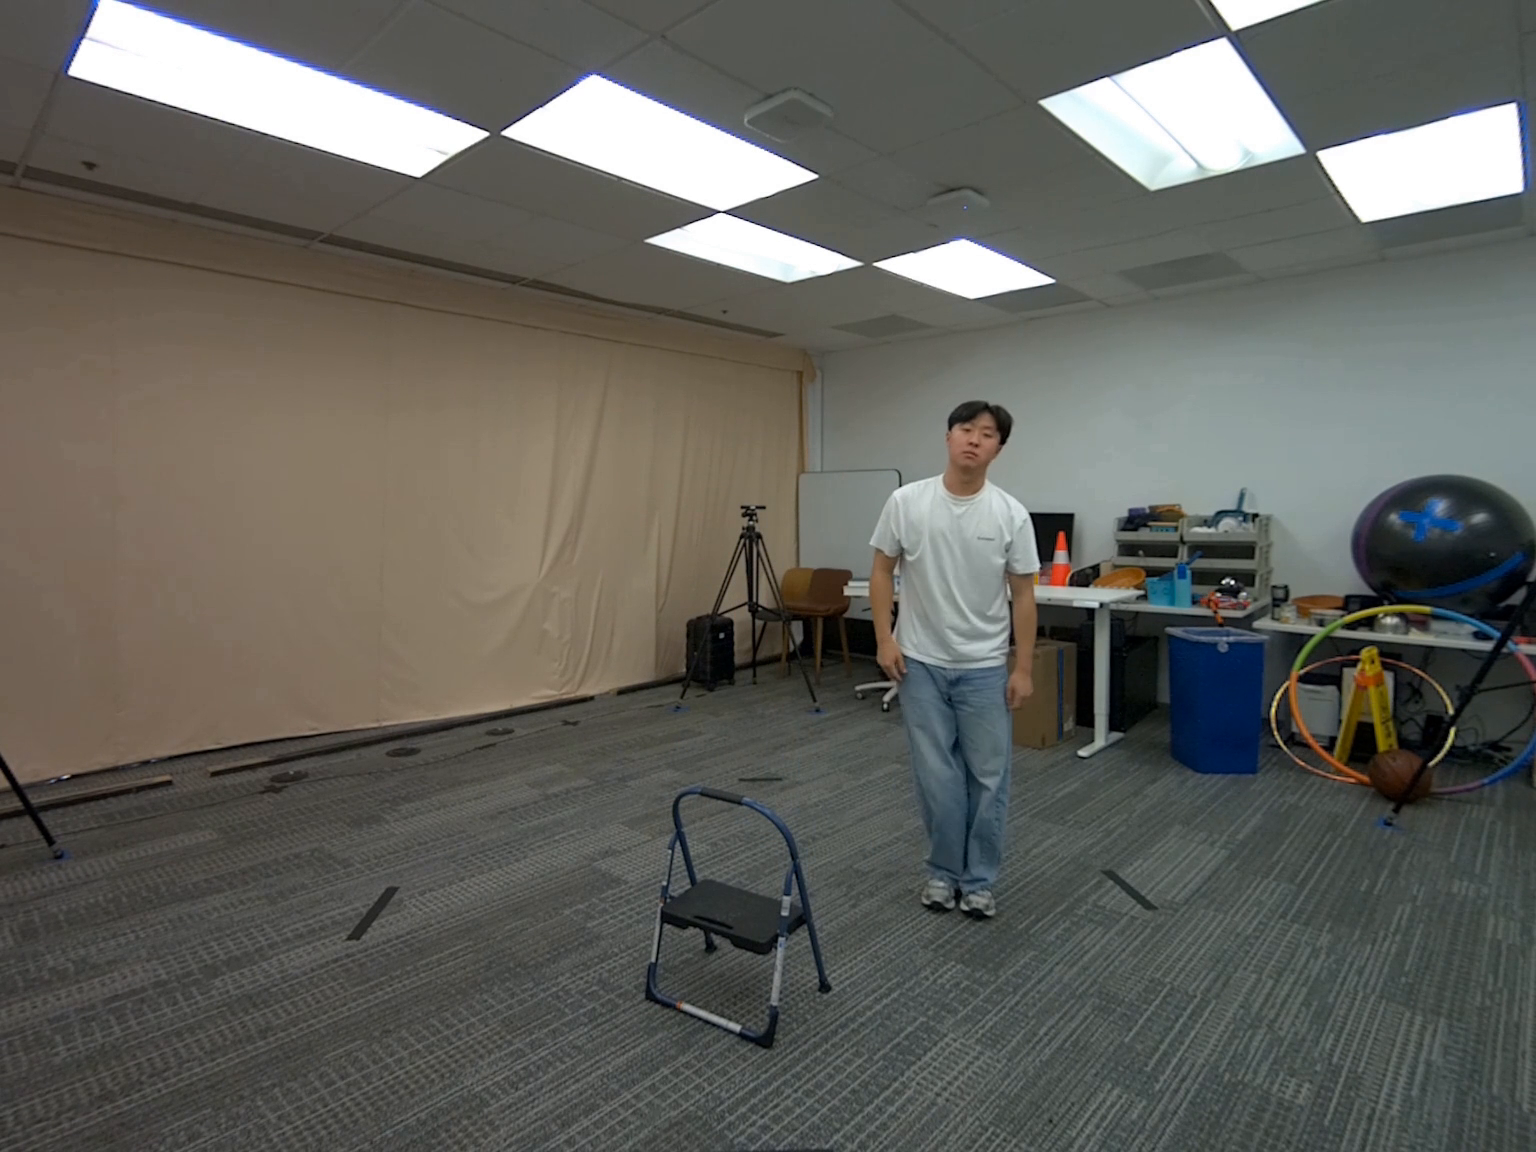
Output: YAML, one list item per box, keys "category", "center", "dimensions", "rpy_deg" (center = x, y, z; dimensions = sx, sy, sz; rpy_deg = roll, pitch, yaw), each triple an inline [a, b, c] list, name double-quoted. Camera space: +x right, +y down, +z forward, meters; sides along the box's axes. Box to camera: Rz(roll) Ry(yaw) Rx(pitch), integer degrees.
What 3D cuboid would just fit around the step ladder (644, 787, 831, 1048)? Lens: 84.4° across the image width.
- category: "step ladder"
  center: [-0.087, 0.892, 2.387]
  dimensions: [0.443, 0.605, 0.340]
  rpy_deg: [2, 4, 32]
